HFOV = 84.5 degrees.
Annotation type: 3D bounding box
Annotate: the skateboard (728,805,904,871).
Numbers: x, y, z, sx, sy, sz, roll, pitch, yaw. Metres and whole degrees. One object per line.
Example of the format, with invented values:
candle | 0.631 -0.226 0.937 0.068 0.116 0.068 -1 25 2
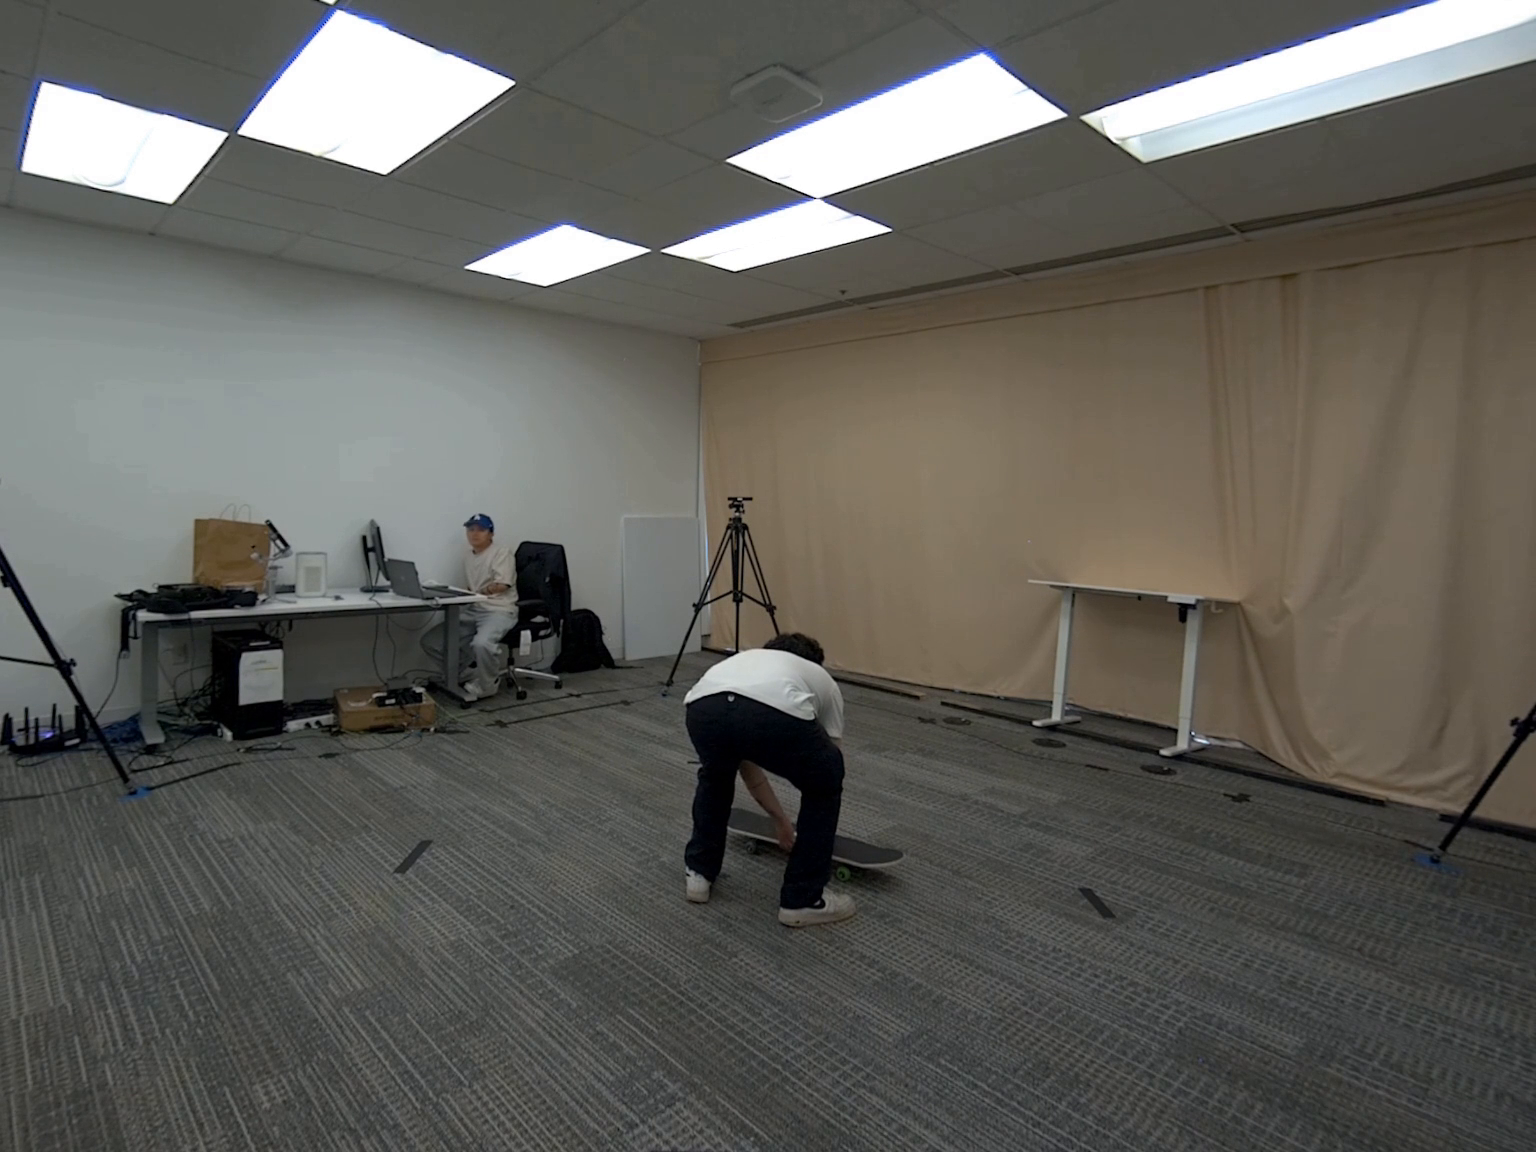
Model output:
skateboard | 0.136 1.042 3.257 0.804 0.110 0.189 4 5 34
